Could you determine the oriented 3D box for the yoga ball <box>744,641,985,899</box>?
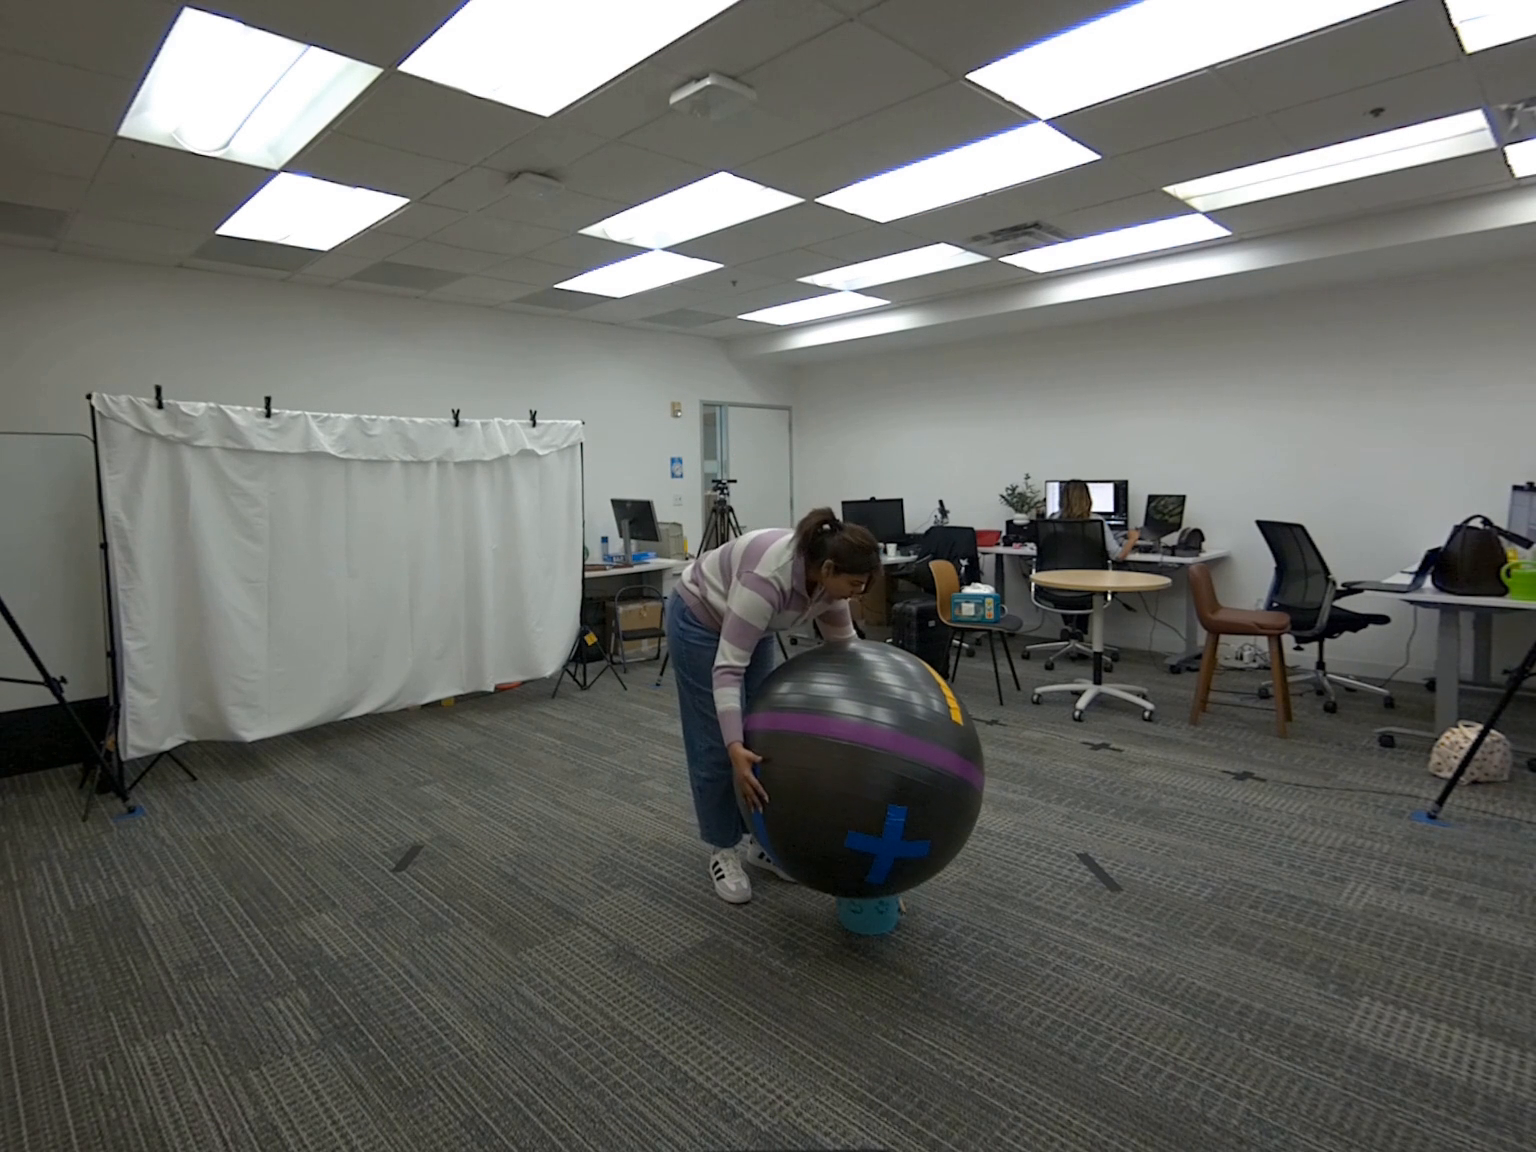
[{"bbox_3d":[0.272,0.581,2.604,0.757,0.755,0.762,-1,5,-2],"label":"yoga ball"}]
